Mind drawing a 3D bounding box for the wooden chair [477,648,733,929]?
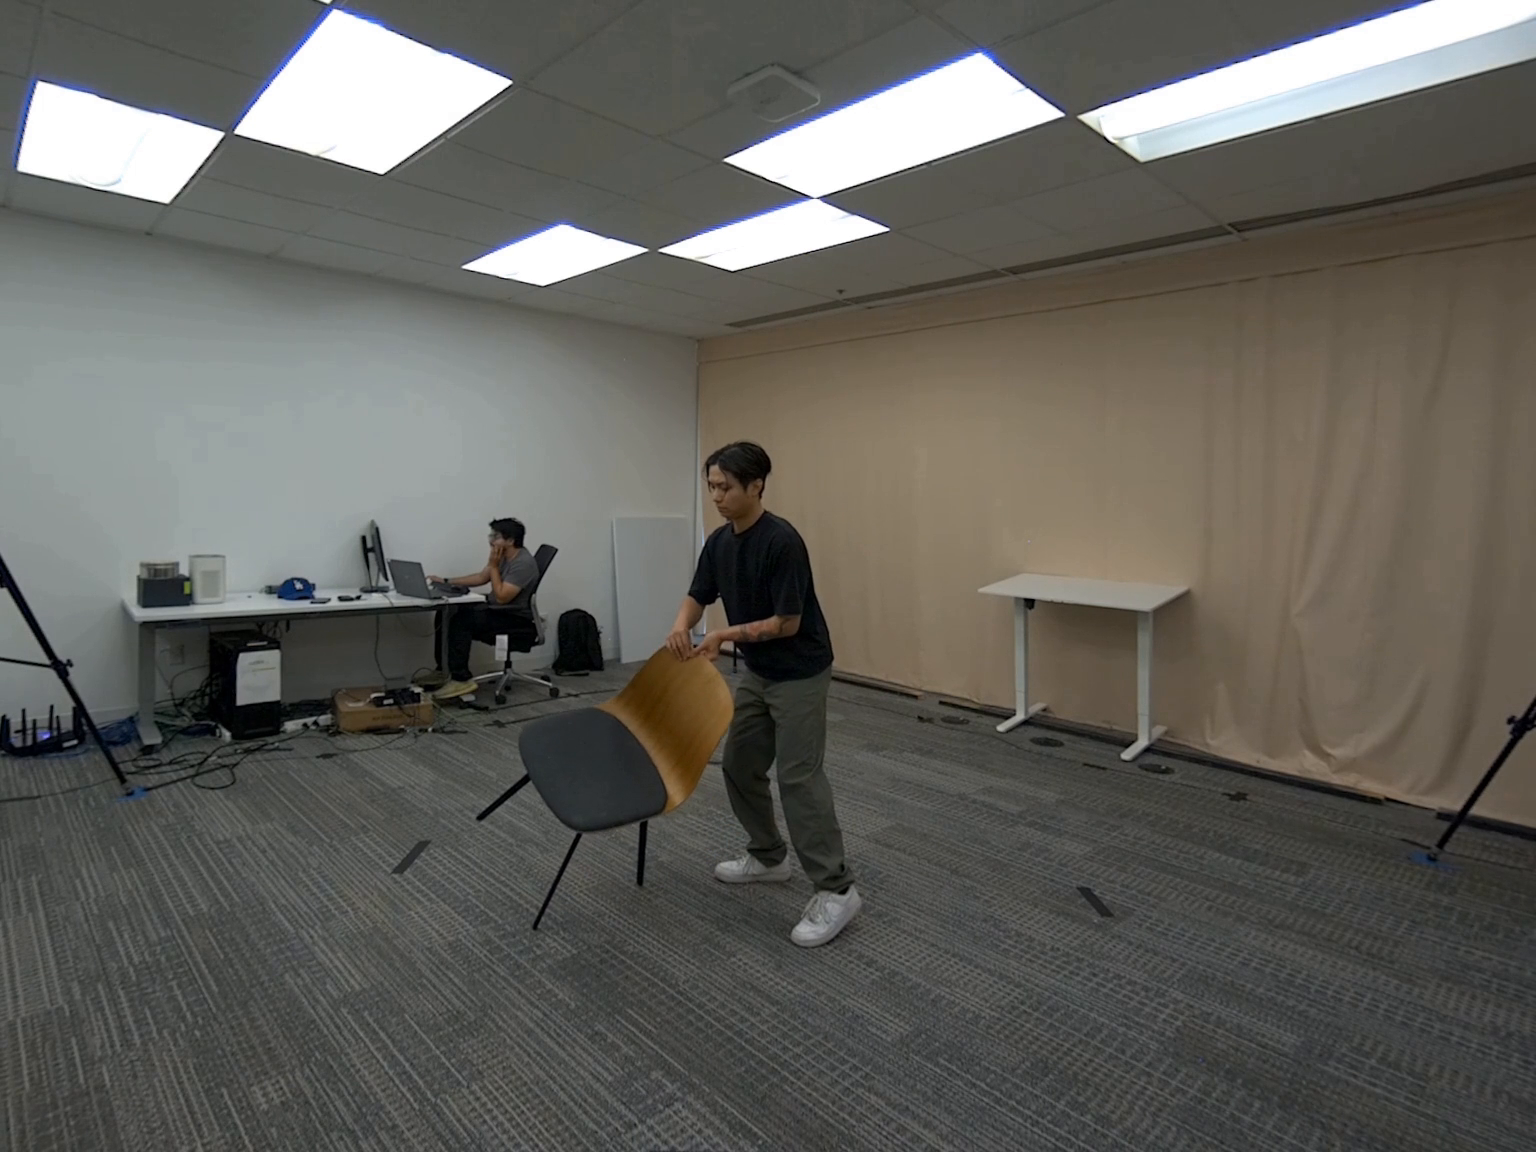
[{"bbox_3d":[-0.545,0.652,2.770,0.510,0.873,0.492,3,37,-50],"label":"wooden chair"}]
